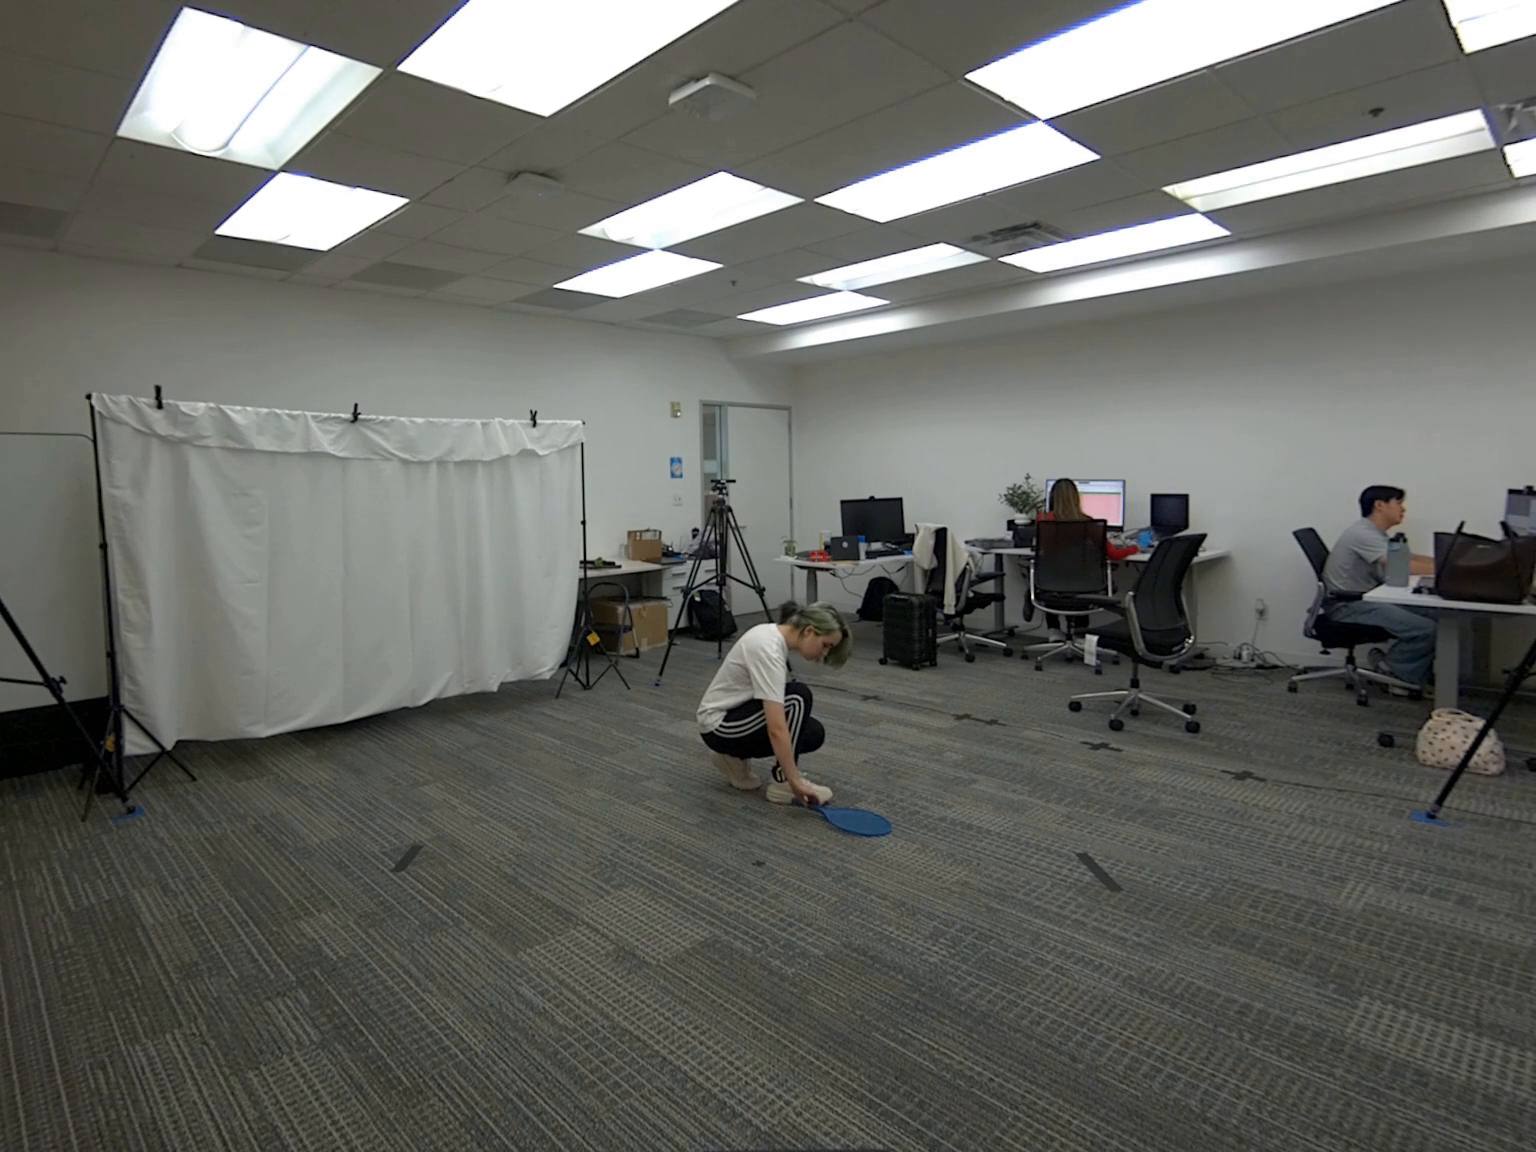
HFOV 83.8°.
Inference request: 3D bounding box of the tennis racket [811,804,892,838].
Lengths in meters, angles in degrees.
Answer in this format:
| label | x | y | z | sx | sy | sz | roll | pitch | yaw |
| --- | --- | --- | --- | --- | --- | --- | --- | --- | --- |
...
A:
| label | x | y | z | sx | sy | sz | roll | pitch | yaw |
| --- | --- | --- | --- | --- | --- | --- | --- | --- | --- |
| tennis racket | 0.302 | 0.971 | 3.477 | 0.446 | 0.031 | 0.209 | 9 | 11 | 33 |
